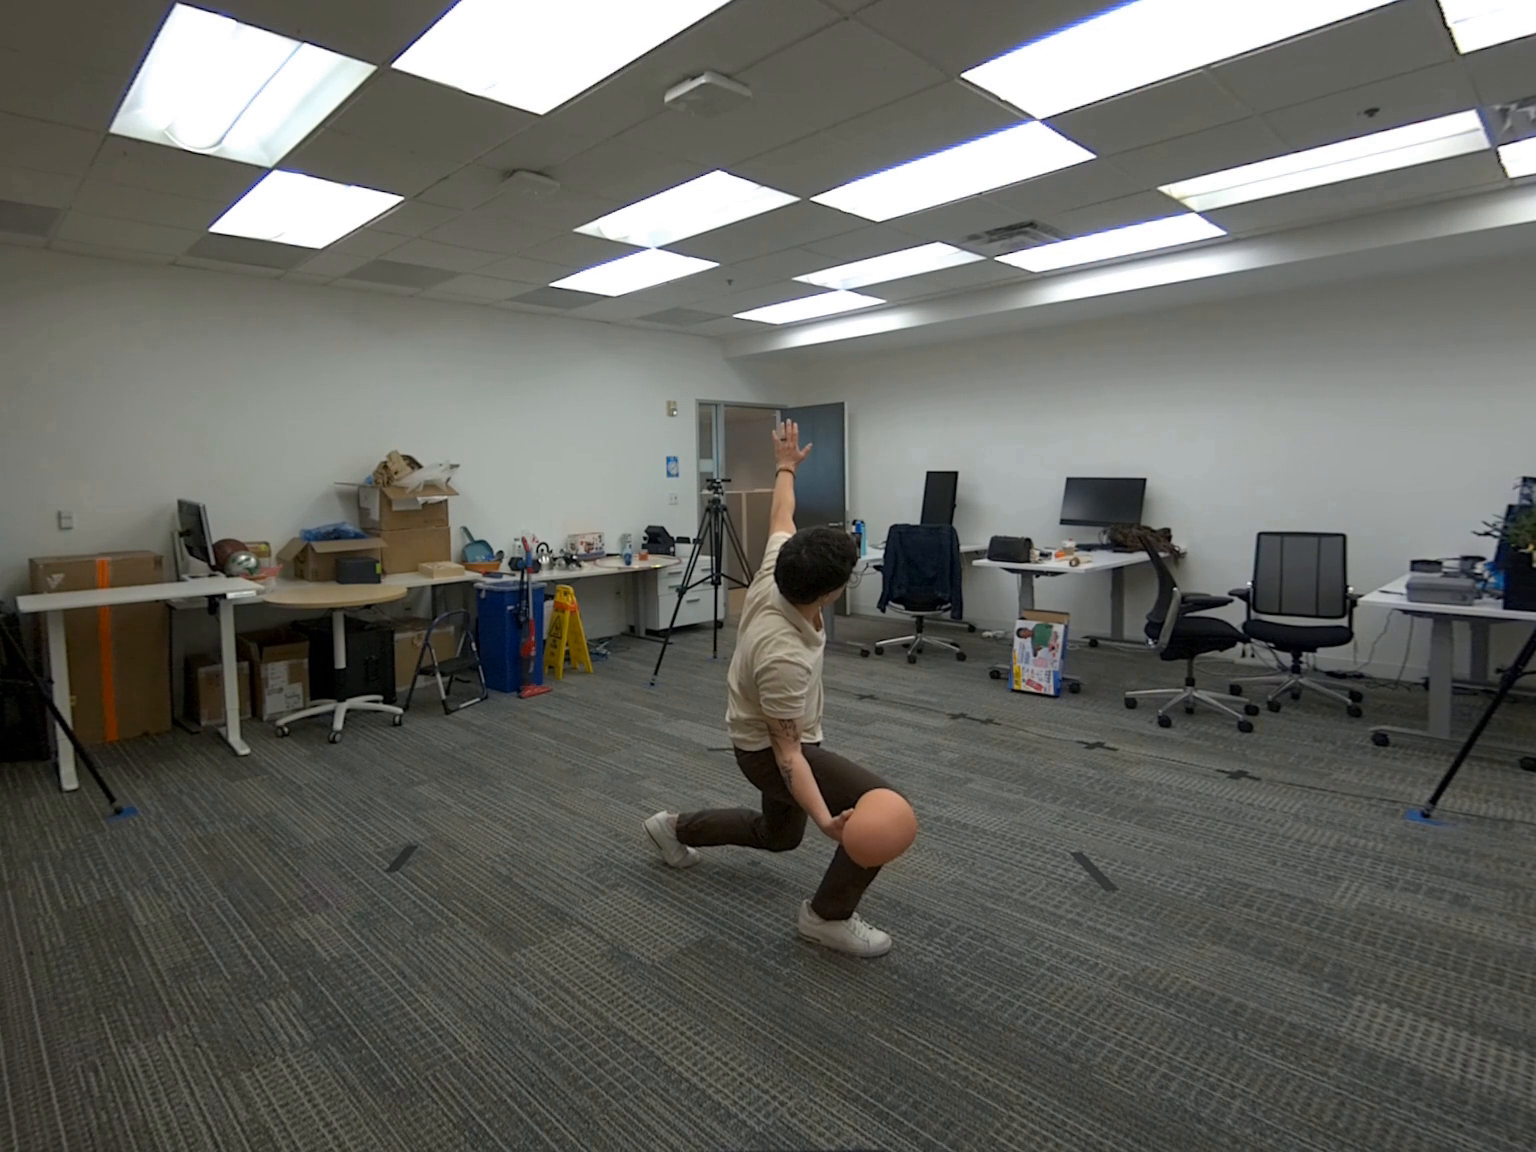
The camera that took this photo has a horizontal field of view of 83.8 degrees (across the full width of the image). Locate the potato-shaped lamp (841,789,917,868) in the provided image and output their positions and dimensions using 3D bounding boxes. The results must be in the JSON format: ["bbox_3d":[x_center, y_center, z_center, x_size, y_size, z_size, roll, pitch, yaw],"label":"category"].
[{"bbox_3d":[0.284,0.646,2.160,0.196,0.166,0.172,-30,-7,-40],"label":"potato-shaped lamp"}]
